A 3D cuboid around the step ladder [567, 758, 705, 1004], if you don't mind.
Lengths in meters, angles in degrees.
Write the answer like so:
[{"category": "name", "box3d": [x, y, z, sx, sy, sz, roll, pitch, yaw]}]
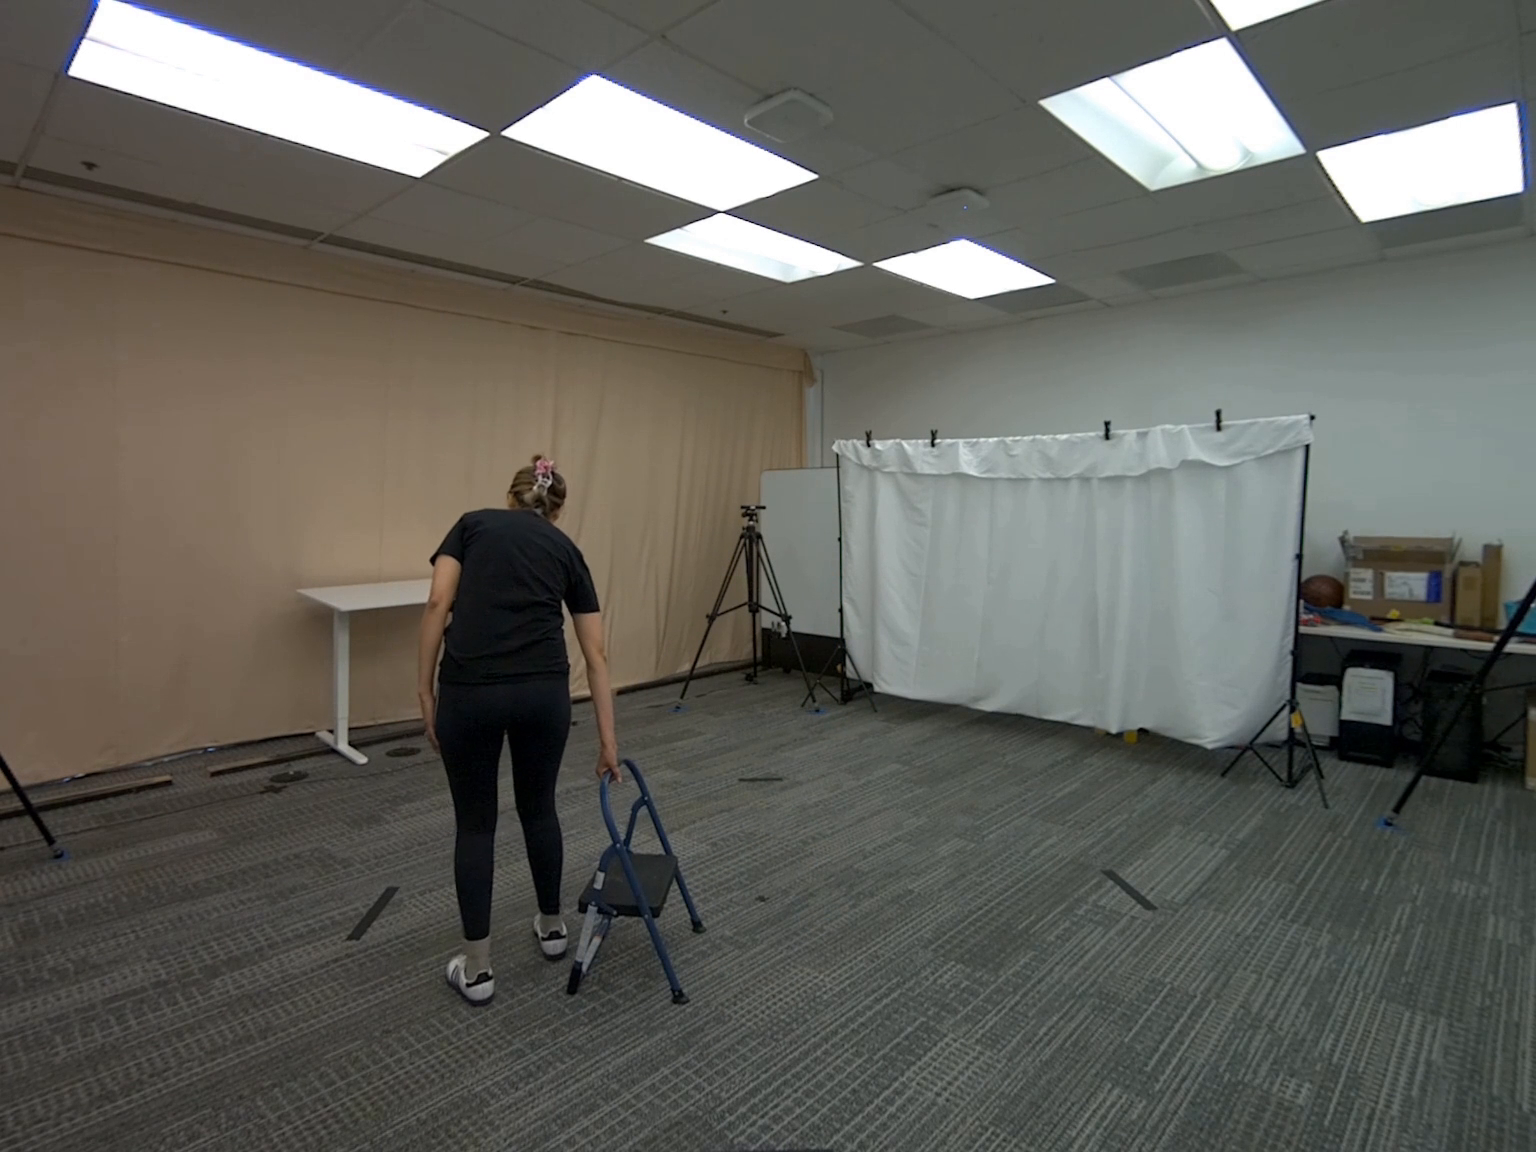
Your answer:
[{"category": "step ladder", "box3d": [-0.394, 0.885, 2.569, 0.351, 0.605, 0.429, 0, 3, 4]}]
